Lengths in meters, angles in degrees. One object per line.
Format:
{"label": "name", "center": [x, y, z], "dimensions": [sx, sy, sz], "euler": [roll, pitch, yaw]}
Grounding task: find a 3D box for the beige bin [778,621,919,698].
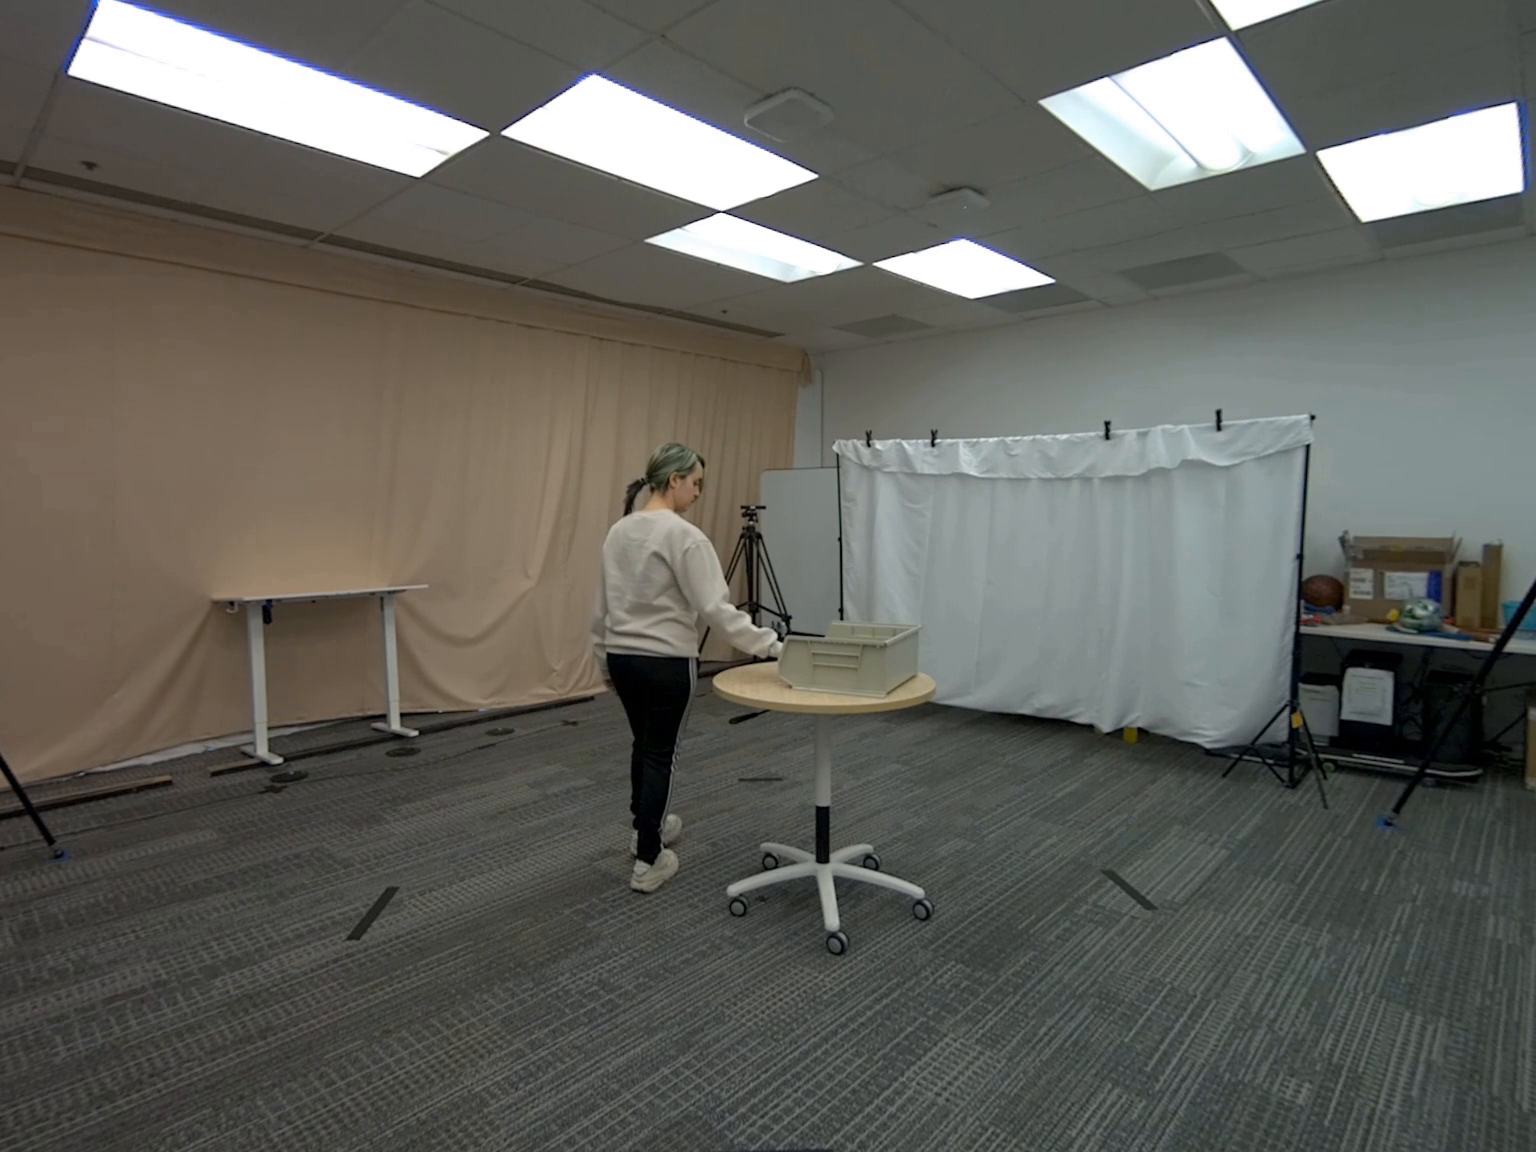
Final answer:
{"label": "beige bin", "center": [0.299, 0.277, 2.885], "dimensions": [0.388, 0.188, 0.412], "euler": [3, 4, 27]}
